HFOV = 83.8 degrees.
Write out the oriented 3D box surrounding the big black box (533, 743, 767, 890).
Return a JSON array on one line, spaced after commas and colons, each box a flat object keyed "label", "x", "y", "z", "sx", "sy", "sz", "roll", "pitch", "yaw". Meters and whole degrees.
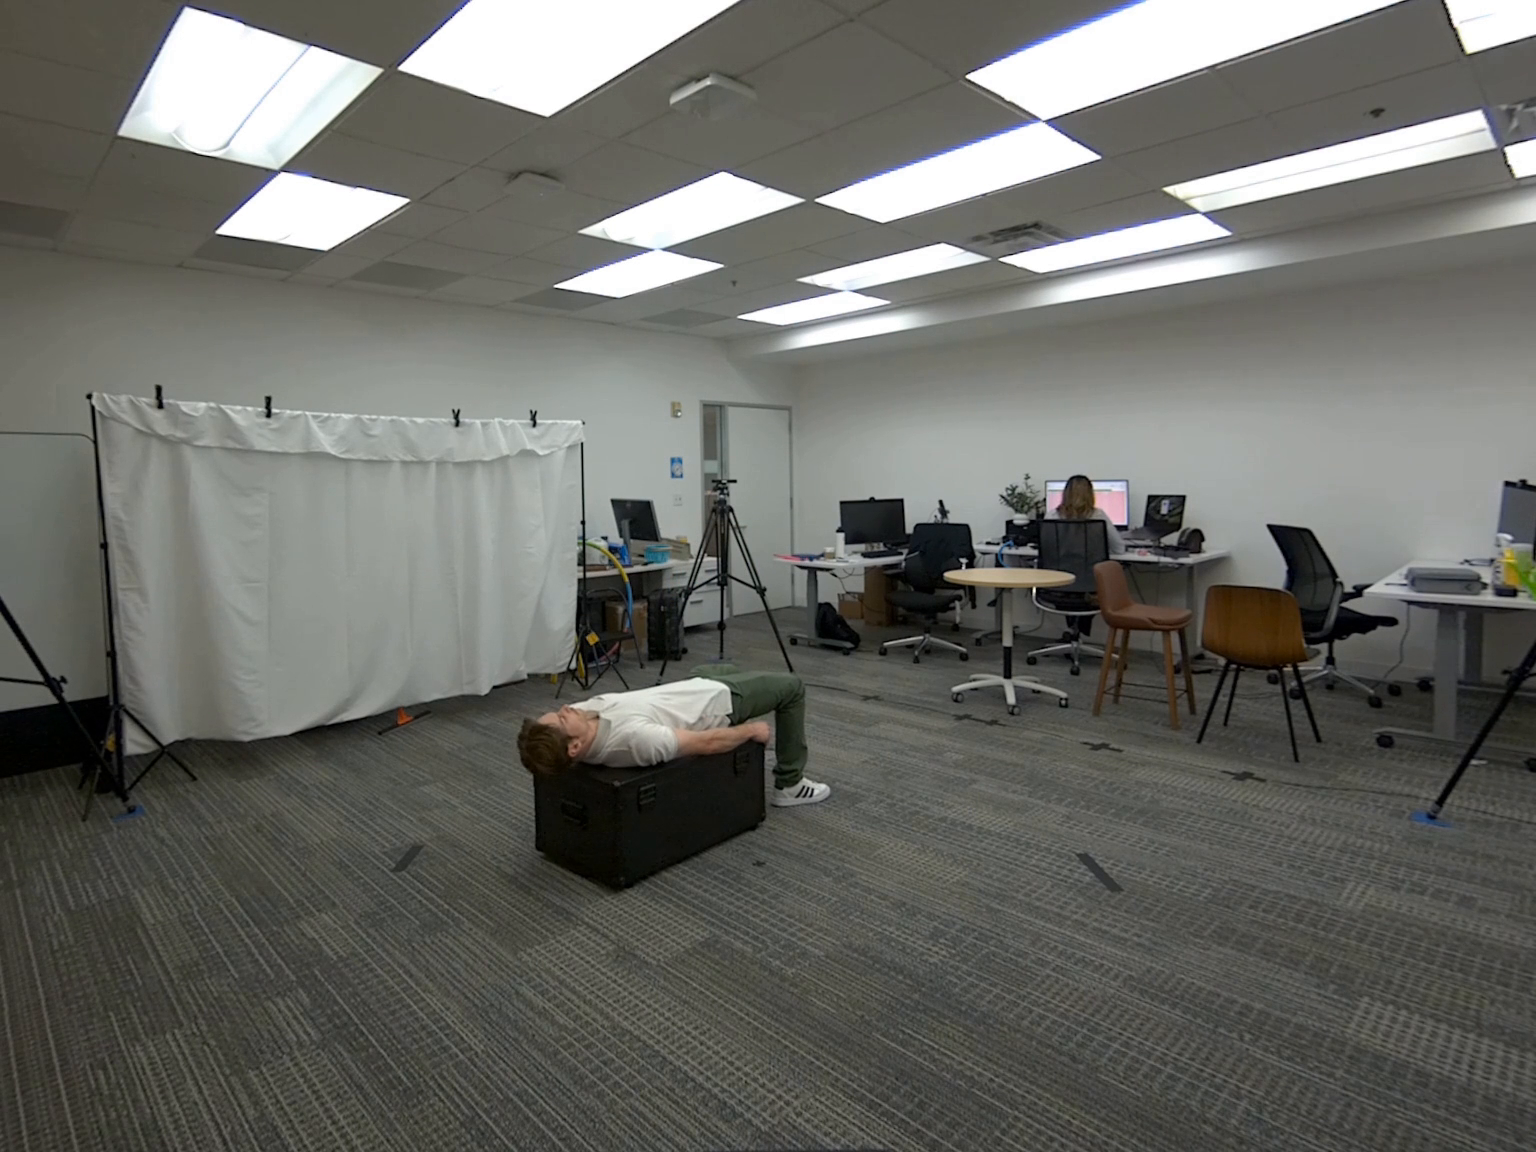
[{"label": "big black box", "x": -0.414, "y": 0.839, "z": 3.343, "sx": 0.539, "sy": 0.384, "sz": 0.846, "roll": 3, "pitch": 6, "yaw": 41}]
